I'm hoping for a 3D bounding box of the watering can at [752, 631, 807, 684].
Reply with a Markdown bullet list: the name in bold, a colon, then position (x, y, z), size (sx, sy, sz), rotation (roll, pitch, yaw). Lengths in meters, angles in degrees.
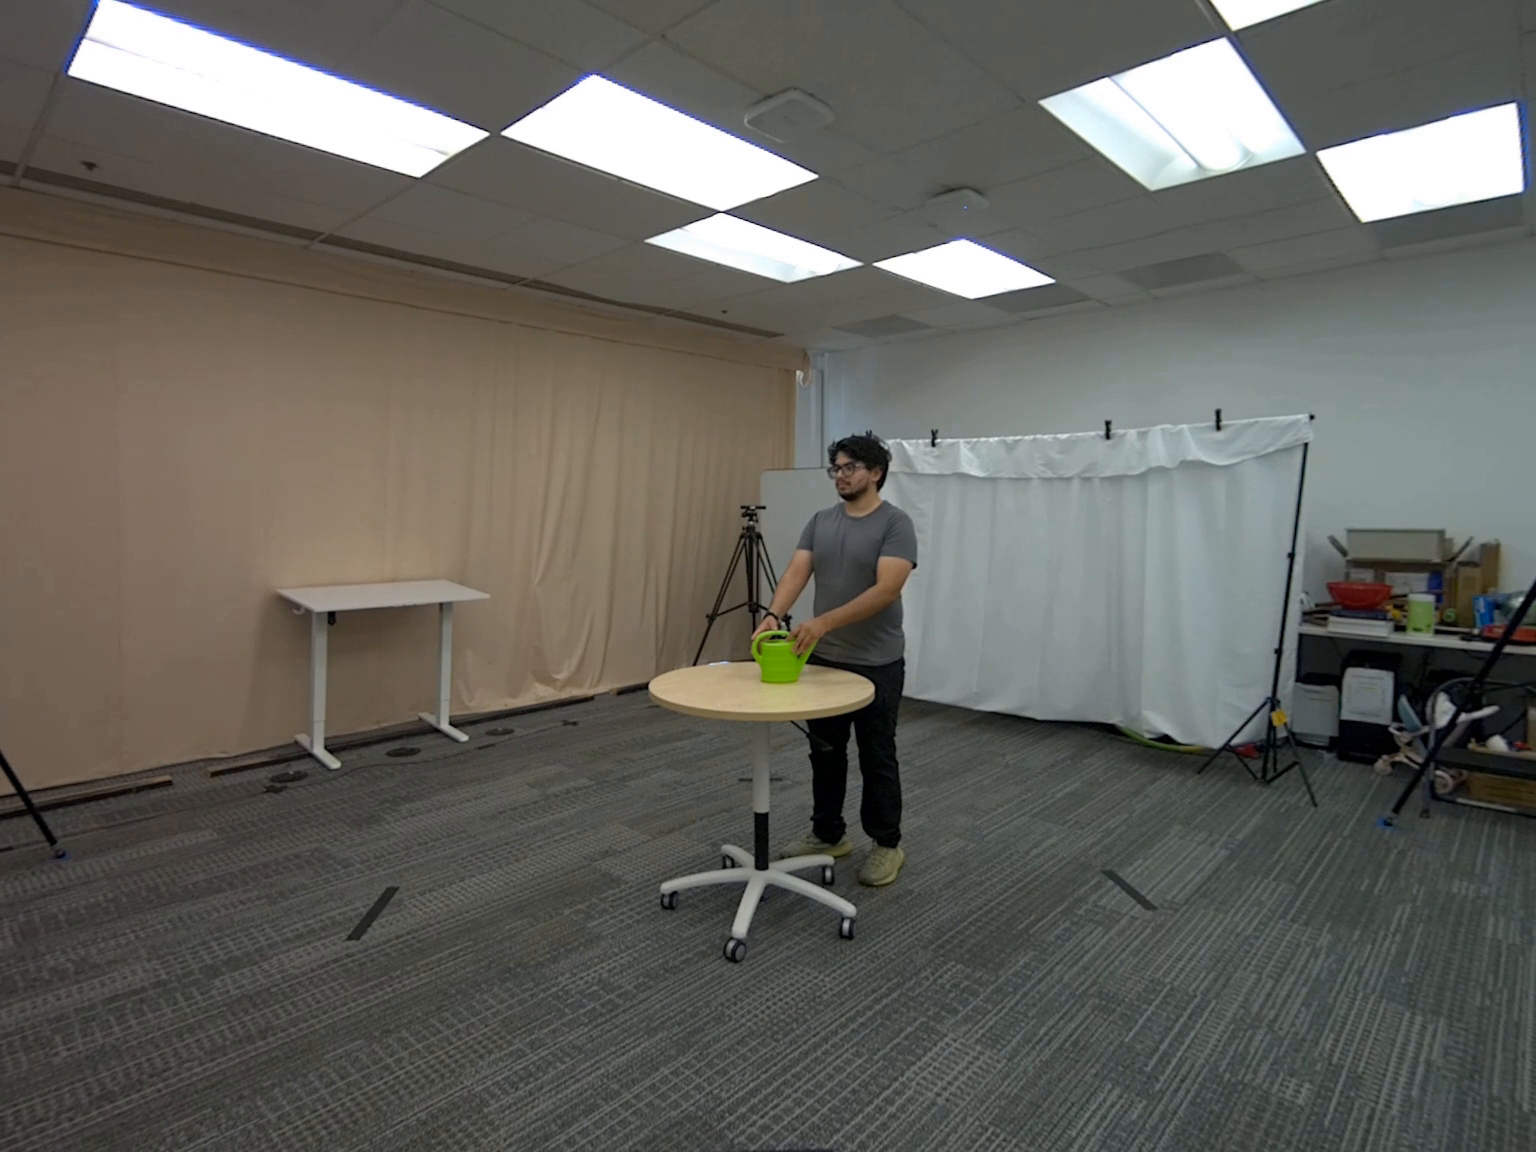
- **watering can**: position (0.087, 0.284, 2.917), size (0.279, 0.176, 0.098), rotation (0, 2, 4)
